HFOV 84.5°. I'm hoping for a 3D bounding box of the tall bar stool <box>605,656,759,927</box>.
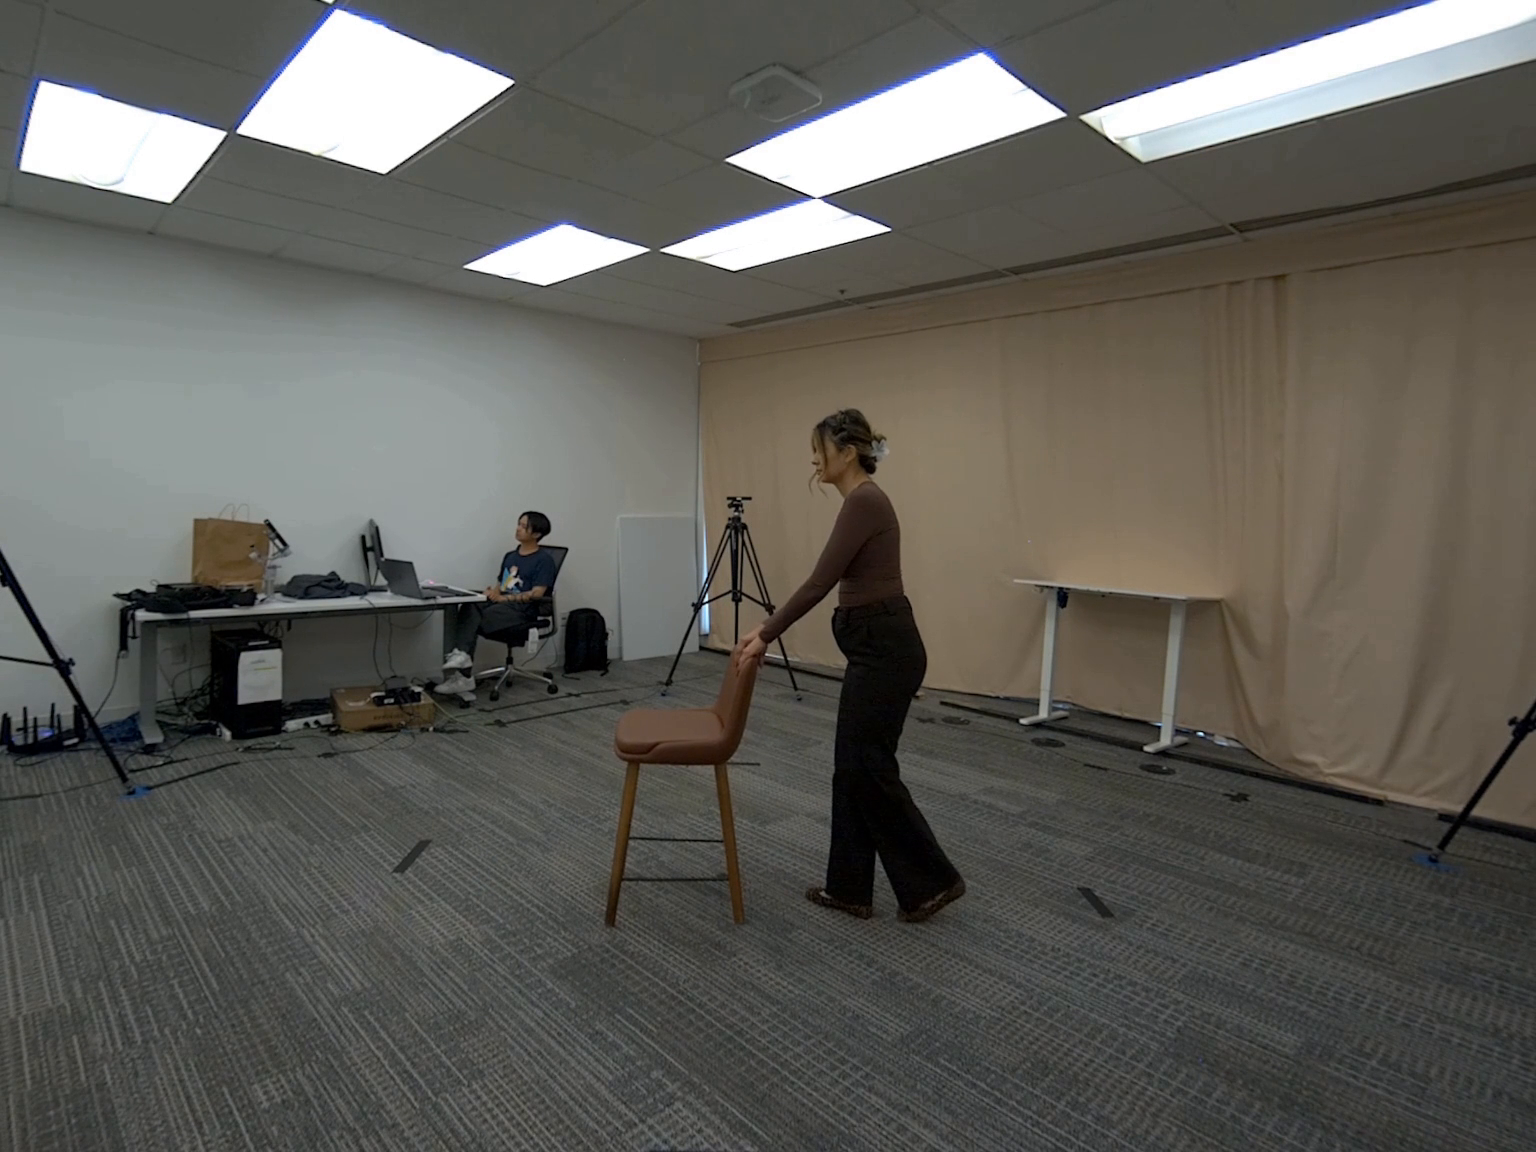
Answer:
[{"bbox_3d":[-0.299,0.683,2.899,0.466,0.888,0.459,3,3,-5],"label":"tall bar stool"}]
